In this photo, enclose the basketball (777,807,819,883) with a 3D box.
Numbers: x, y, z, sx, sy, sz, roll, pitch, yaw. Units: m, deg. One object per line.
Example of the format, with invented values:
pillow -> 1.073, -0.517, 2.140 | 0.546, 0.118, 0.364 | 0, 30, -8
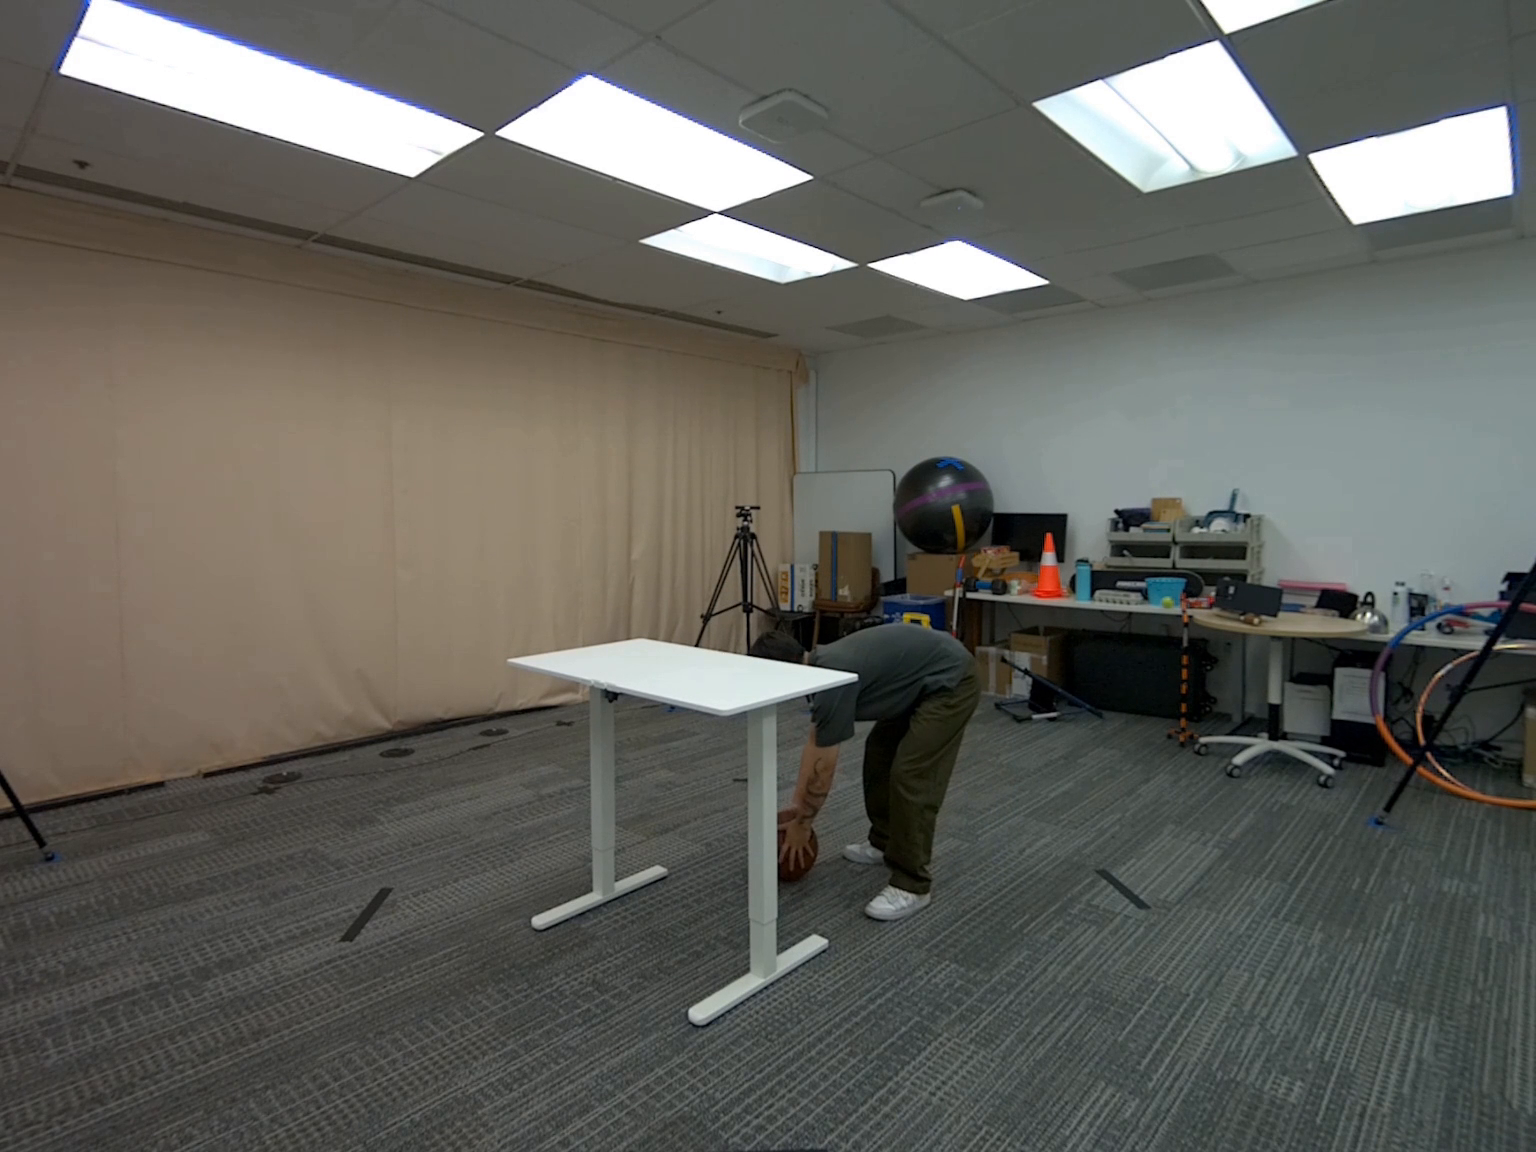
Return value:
basketball -> 0.076, 1.005, 3.156 | 0.236, 0.235, 0.237 | 0, 4, -2
